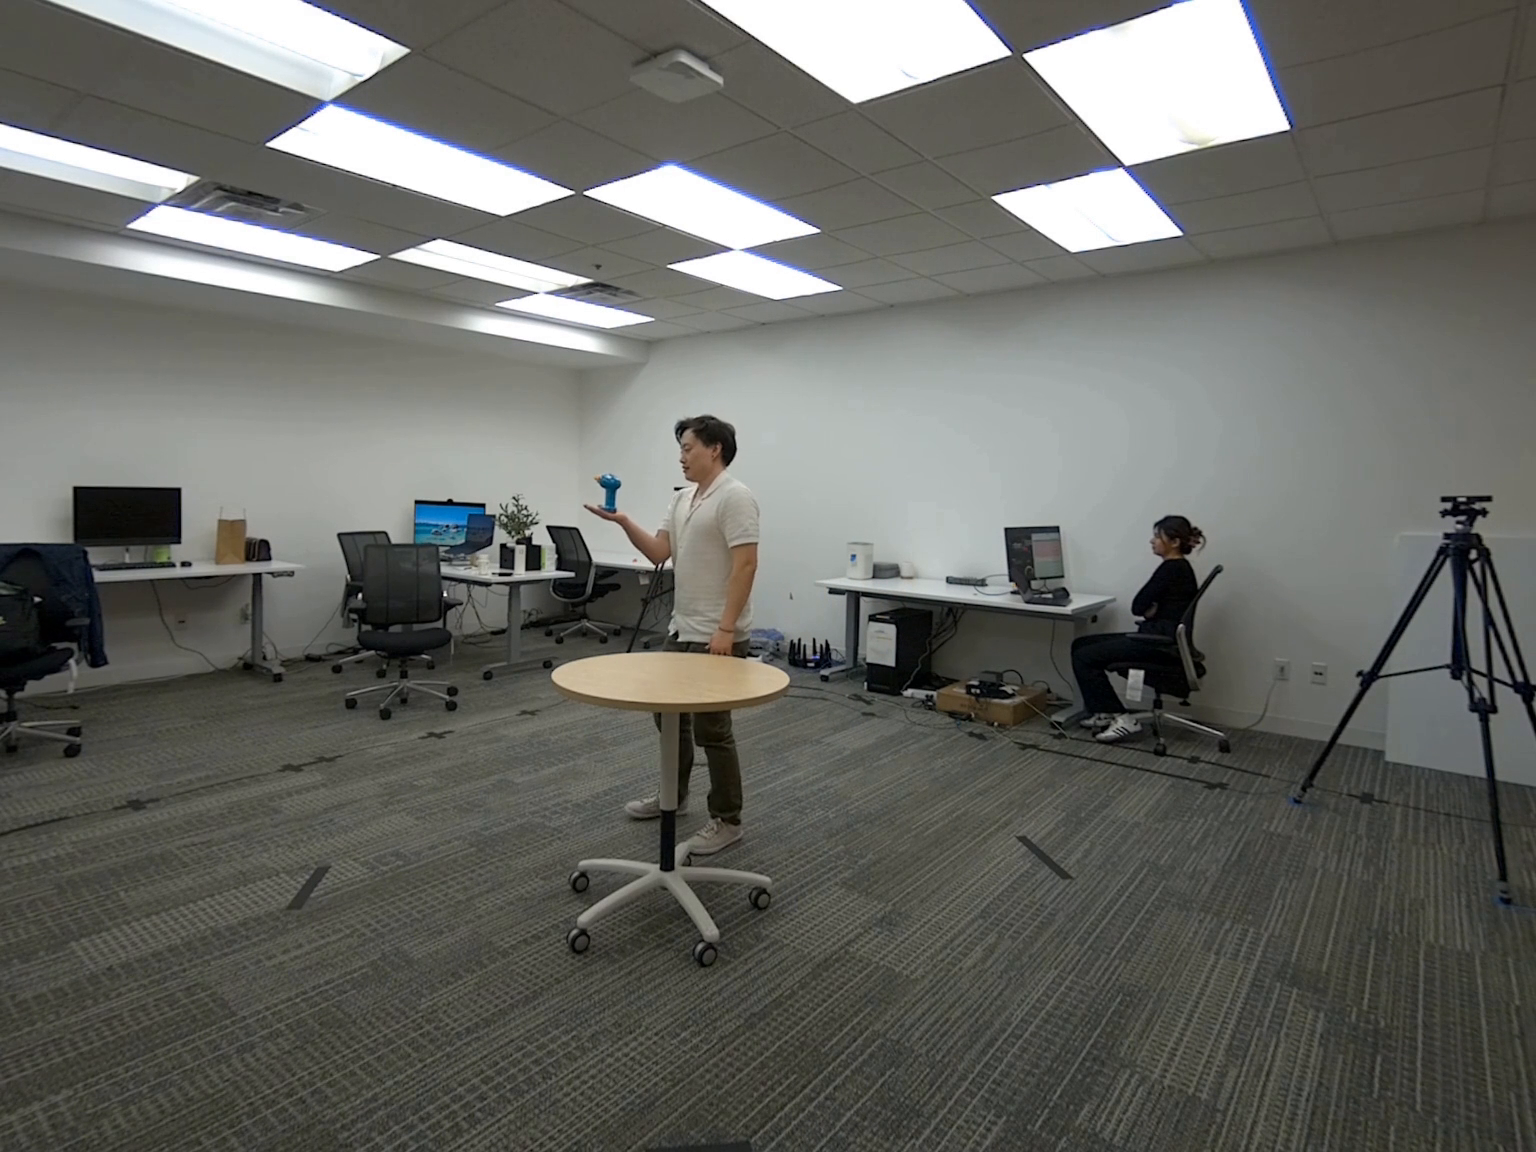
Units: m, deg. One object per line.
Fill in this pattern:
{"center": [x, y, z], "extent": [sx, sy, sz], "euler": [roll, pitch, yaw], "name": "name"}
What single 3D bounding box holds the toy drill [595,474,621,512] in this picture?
{"center": [-0.647, -0.333, 3.295], "extent": [0.176, 0.145, 0.059], "euler": [19, 14, 39], "name": "toy drill"}
